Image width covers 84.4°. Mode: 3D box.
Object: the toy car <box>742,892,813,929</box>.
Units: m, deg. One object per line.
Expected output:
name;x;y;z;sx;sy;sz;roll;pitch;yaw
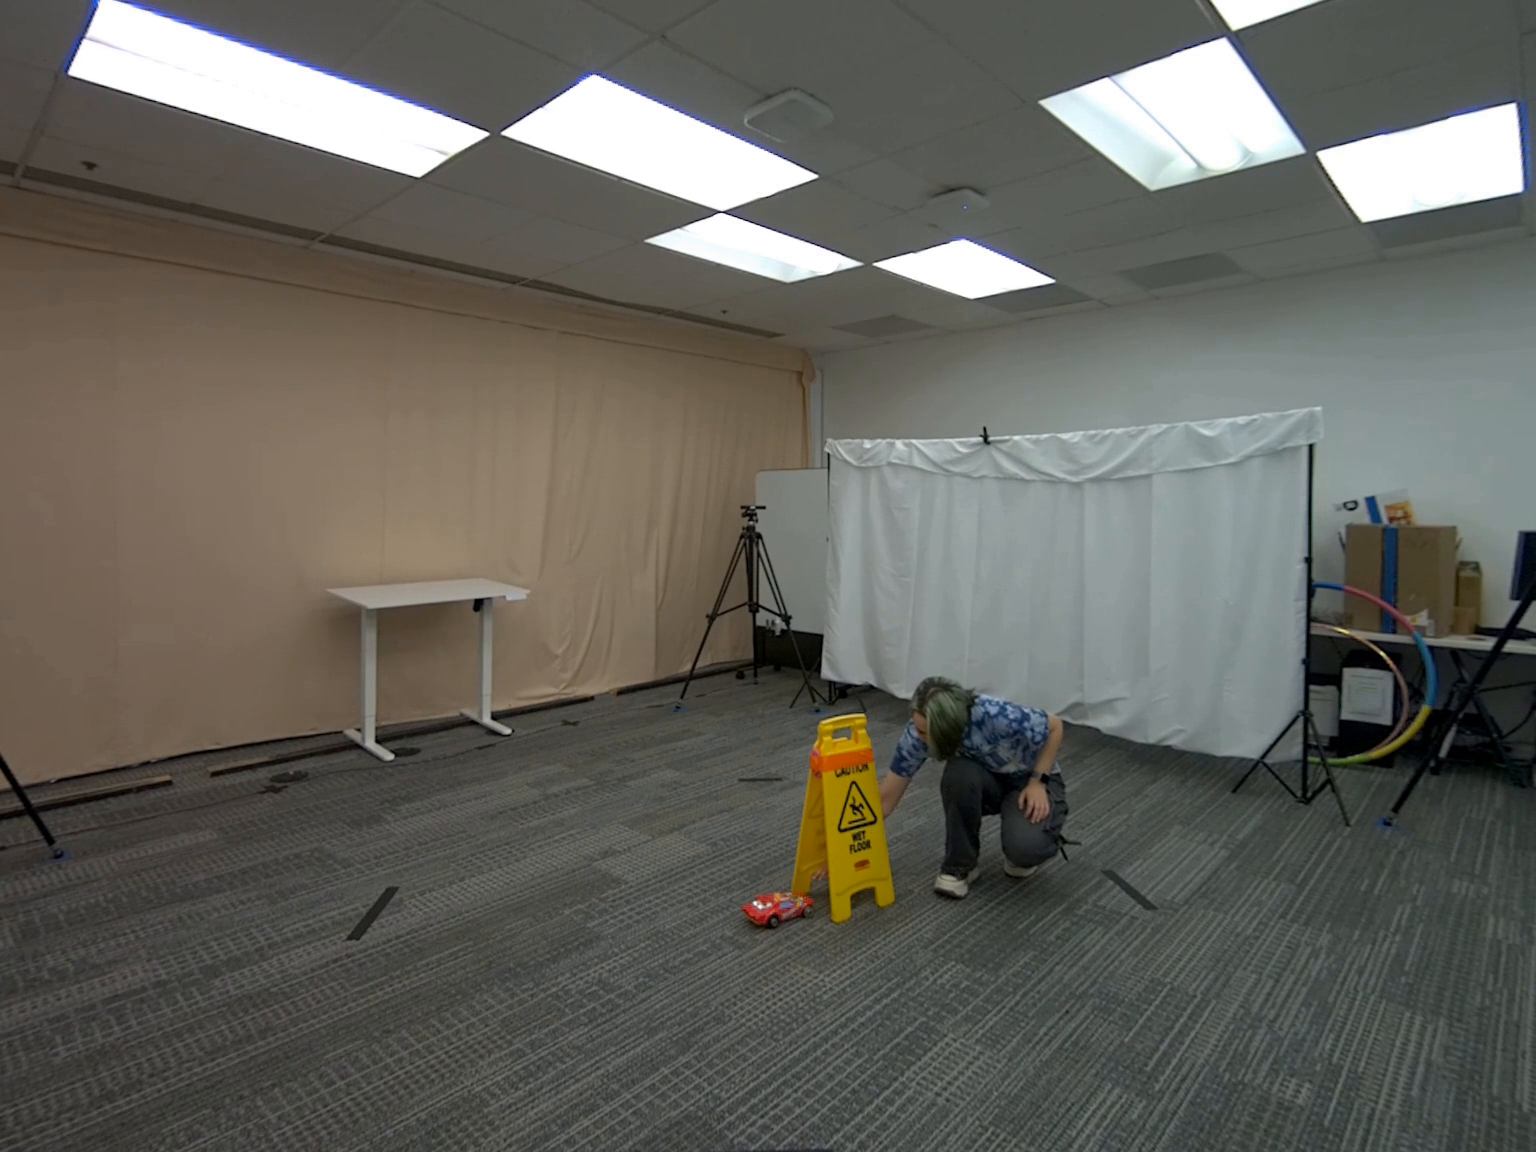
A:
toy car;0.030;1.131;2.838;0.247;0.083;0.134;14;-5;-29
